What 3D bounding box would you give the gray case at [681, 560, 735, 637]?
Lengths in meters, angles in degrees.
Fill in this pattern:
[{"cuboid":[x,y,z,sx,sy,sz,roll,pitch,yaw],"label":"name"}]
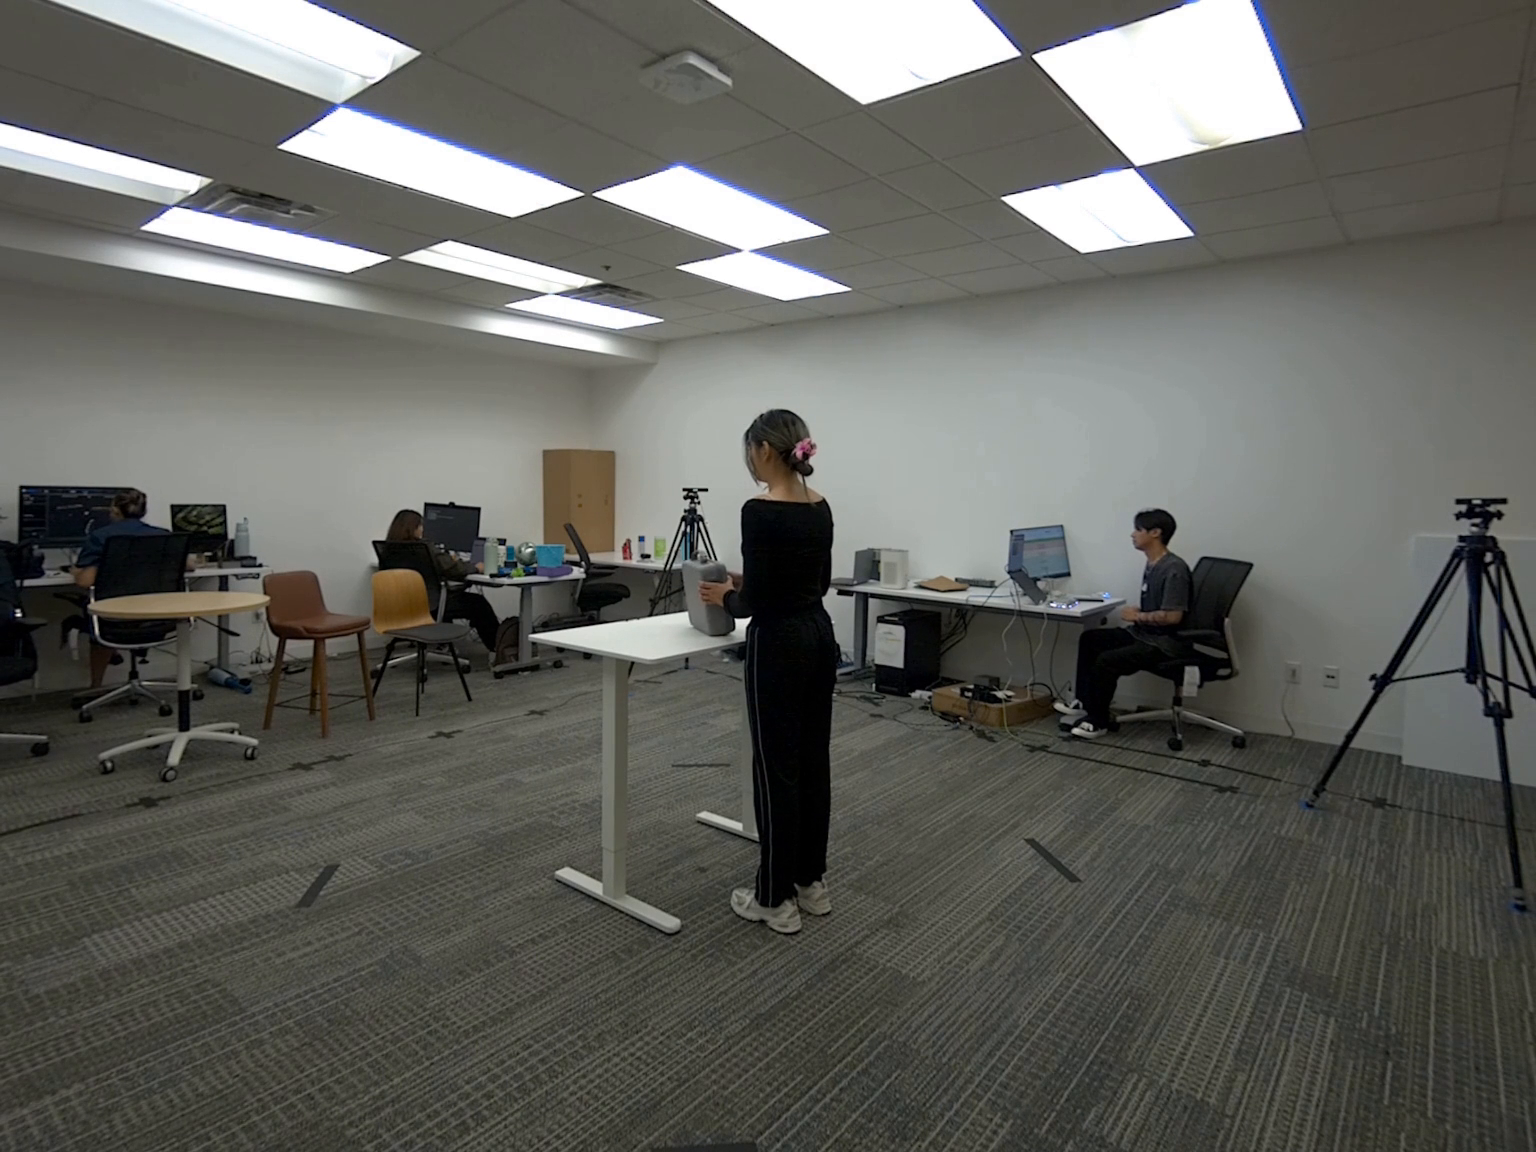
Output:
[{"cuboid":[-0.224,0.066,3.019,0.103,0.258,0.263,-12,8,-20],"label":"gray case"}]
